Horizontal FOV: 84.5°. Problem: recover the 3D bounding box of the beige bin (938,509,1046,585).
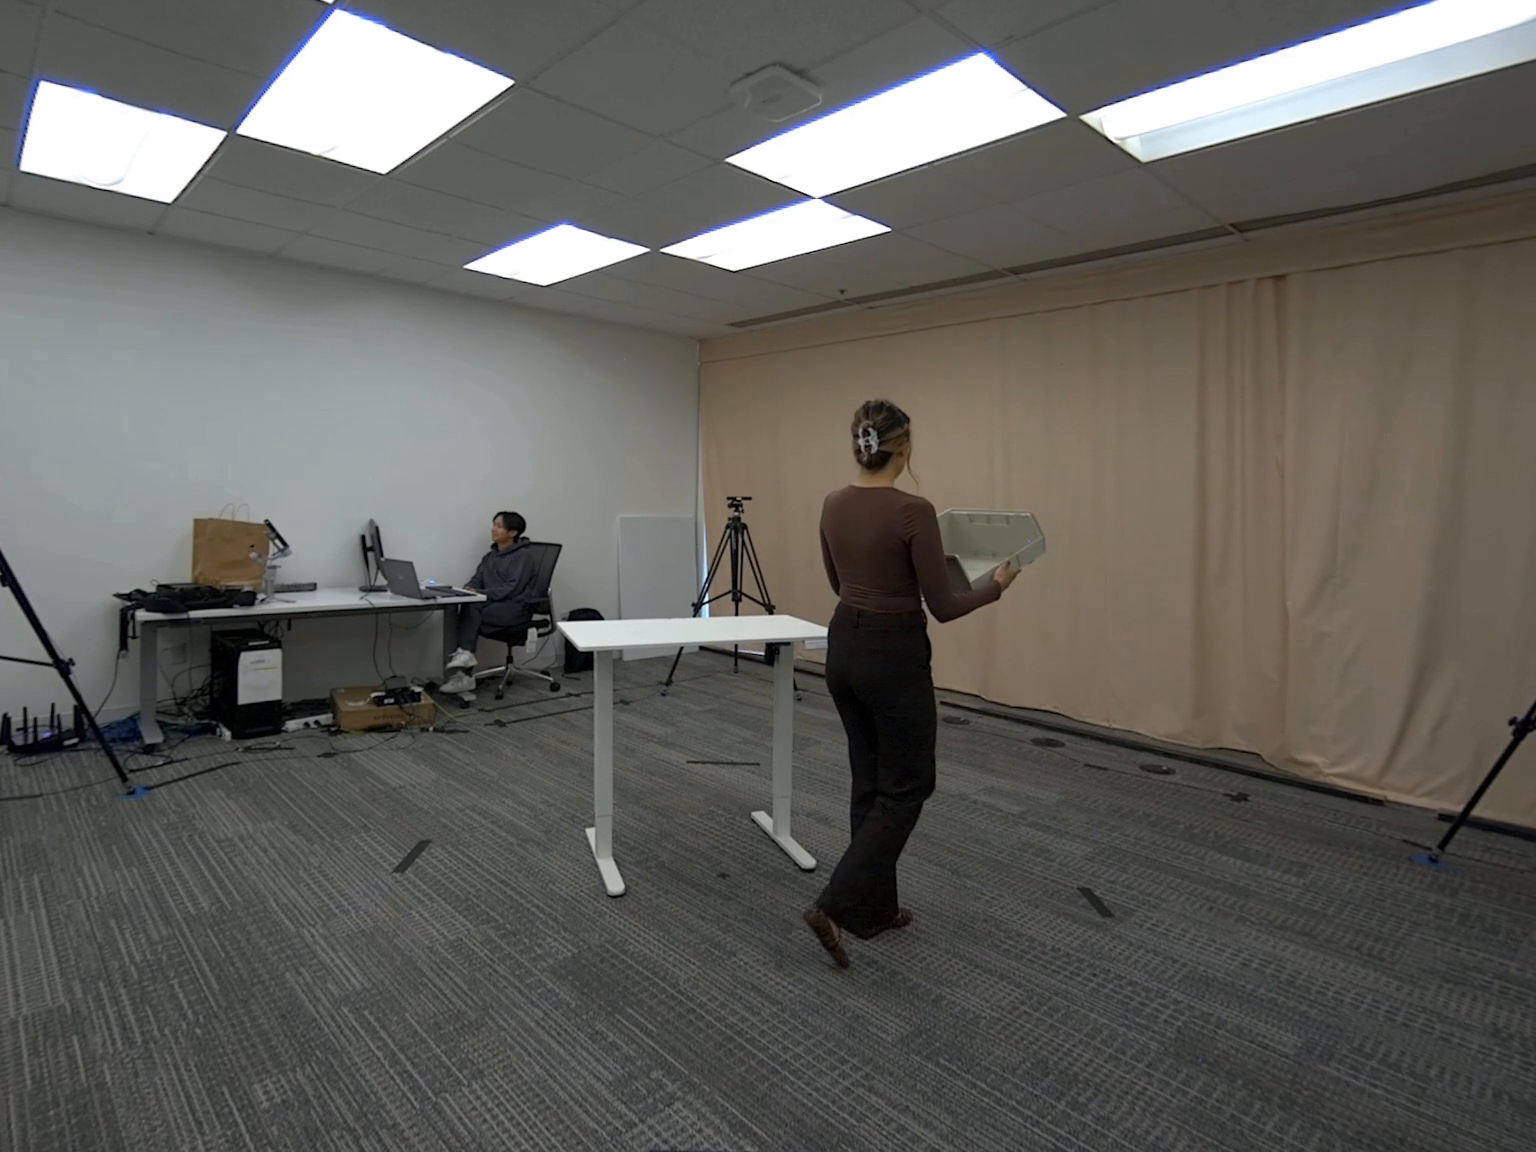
[{"bbox_3d":[0.654,-0.068,2.854,0.417,0.186,0.387,-26,19,-33],"label":"beige bin"}]
